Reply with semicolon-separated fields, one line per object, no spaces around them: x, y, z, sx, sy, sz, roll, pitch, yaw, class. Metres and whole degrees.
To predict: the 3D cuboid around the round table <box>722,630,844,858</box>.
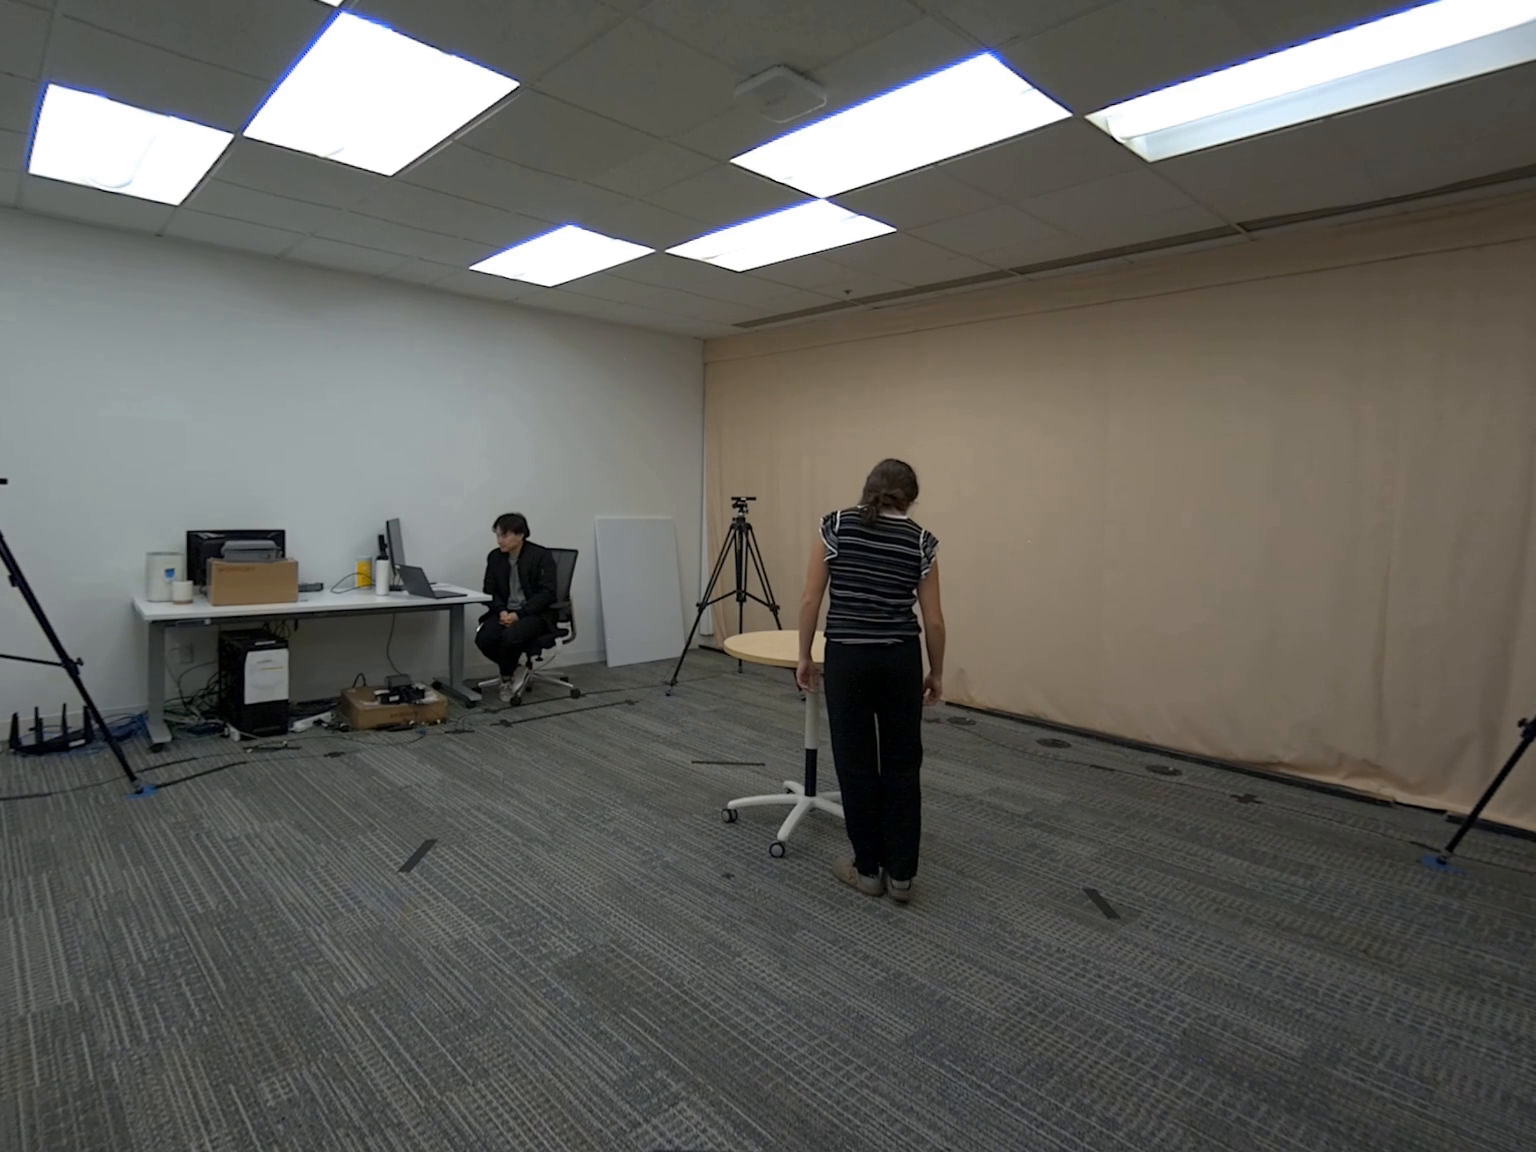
0.176;0.678;3.583;0.784;0.784;0.788;1;4;-1;round table
